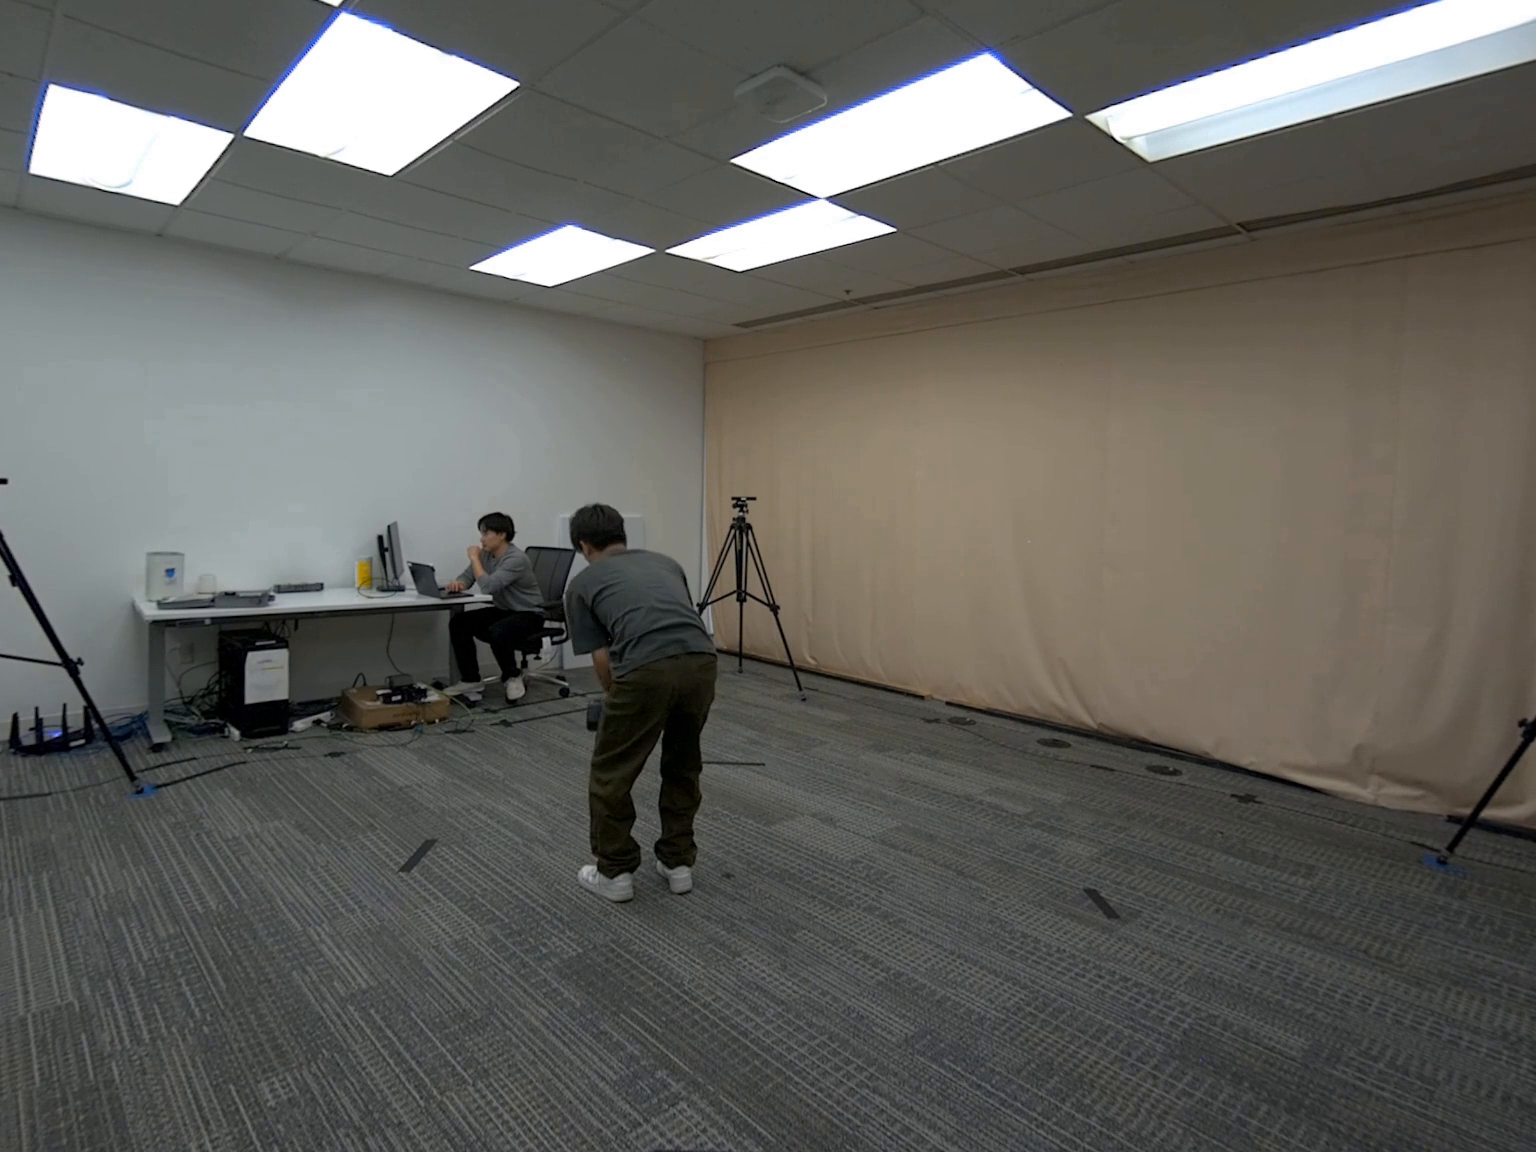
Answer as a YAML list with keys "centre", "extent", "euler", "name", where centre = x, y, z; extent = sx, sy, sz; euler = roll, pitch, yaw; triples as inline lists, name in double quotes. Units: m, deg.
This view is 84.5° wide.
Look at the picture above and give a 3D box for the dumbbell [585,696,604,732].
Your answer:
- centre: [-0.552, 0.541, 3.209]
  extent: [0.292, 0.125, 0.107]
  euler: [3, -20, -4]
  name: "dumbbell"
